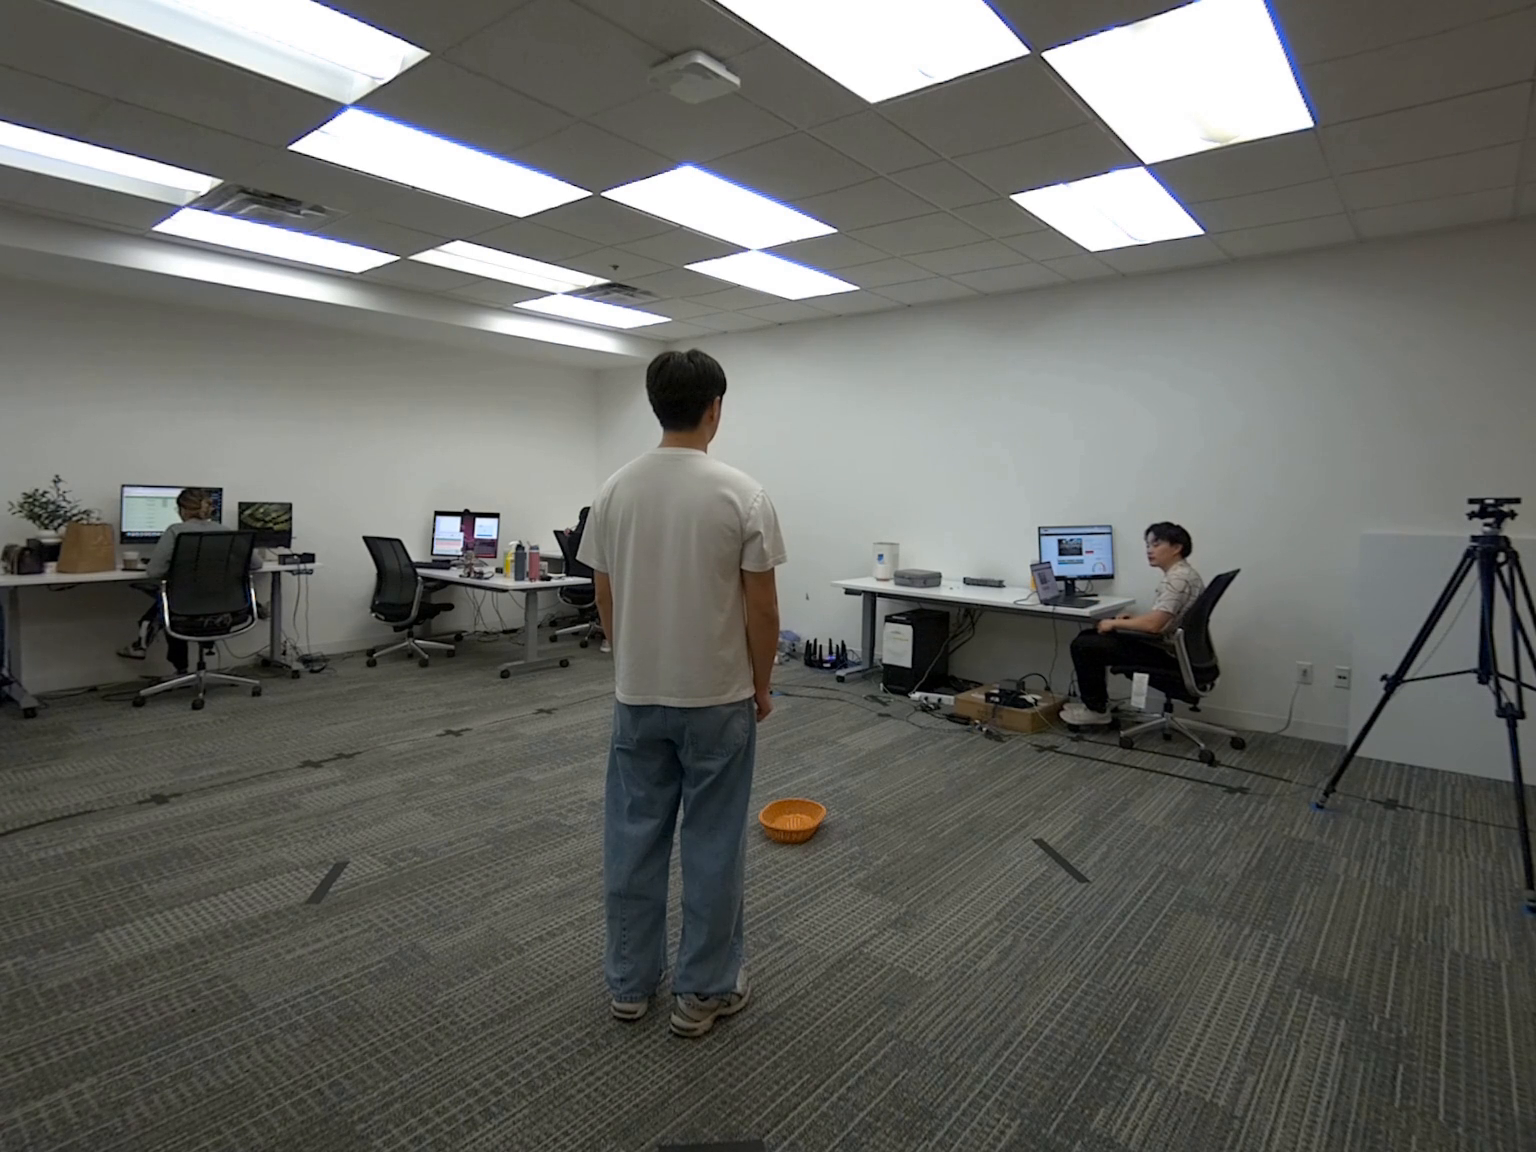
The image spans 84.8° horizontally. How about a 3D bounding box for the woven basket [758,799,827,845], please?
[{"bbox_3d":[0.087,0.998,3.480,0.258,0.073,0.343,3,7,22],"label":"woven basket"}]
